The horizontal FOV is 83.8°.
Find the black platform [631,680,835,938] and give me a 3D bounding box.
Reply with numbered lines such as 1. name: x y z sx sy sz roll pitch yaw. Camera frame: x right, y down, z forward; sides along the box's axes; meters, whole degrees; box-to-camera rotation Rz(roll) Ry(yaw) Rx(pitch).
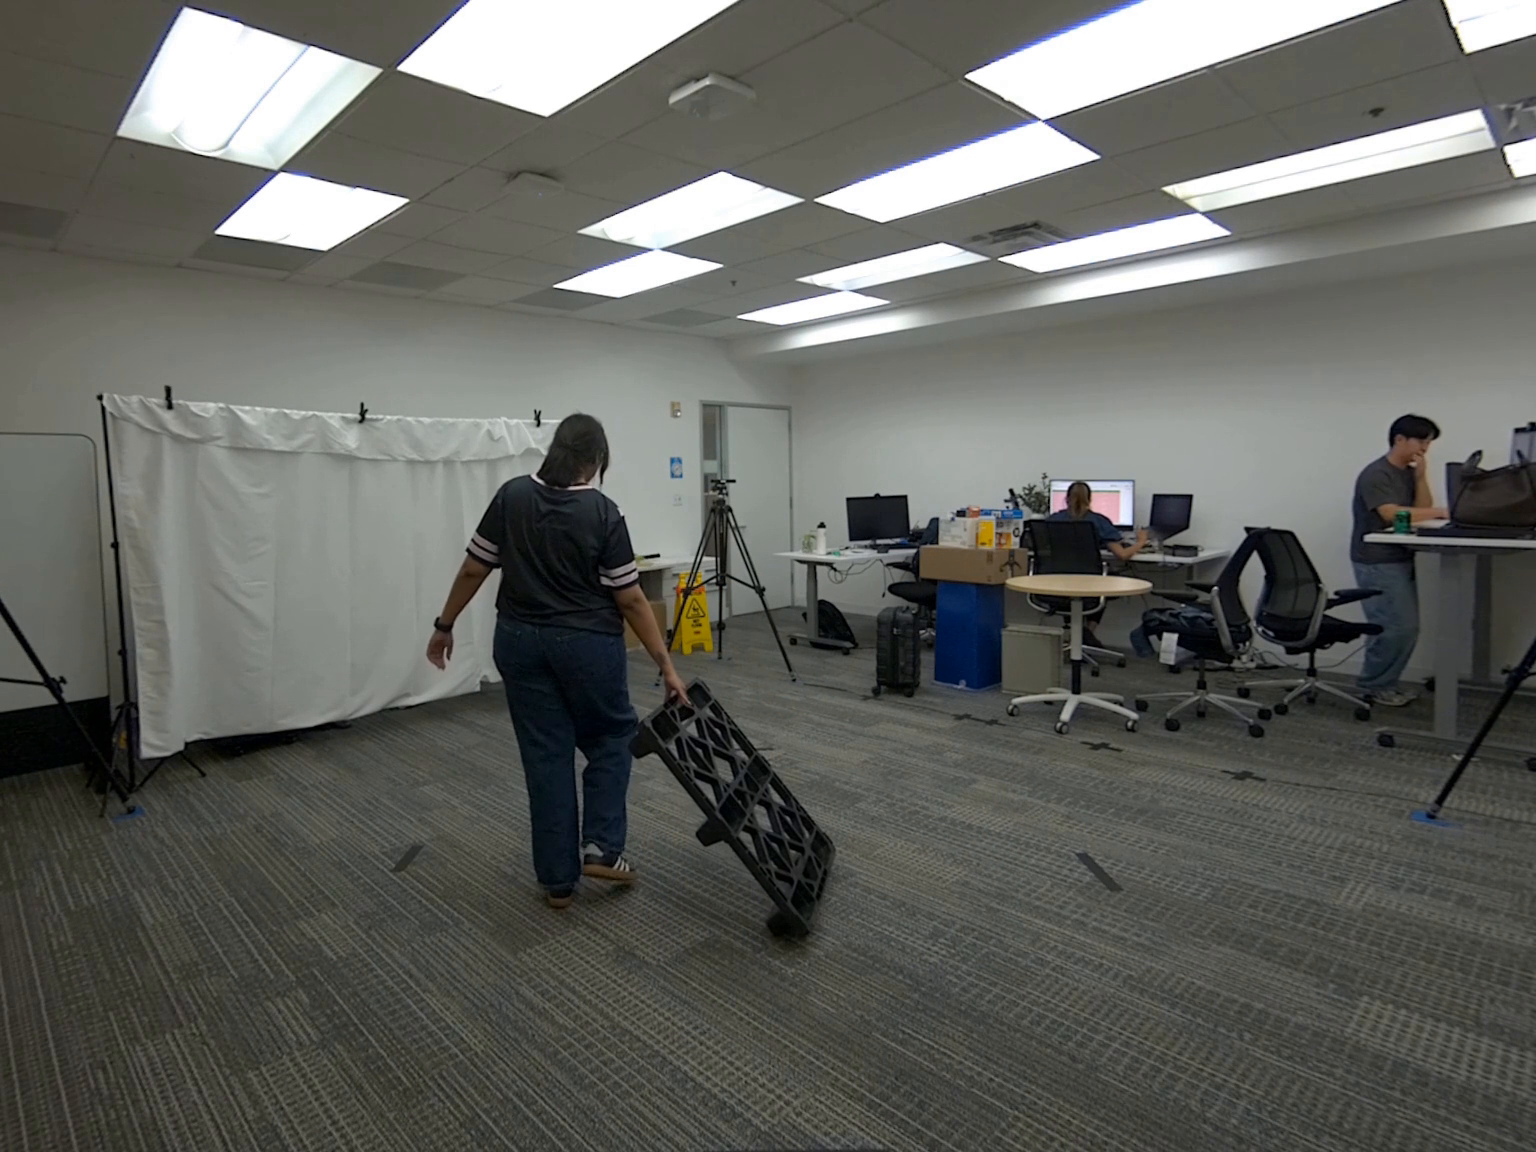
1. black platform: -0.114 0.756 2.854 0.143 0.812 0.599 -41 -5 14
